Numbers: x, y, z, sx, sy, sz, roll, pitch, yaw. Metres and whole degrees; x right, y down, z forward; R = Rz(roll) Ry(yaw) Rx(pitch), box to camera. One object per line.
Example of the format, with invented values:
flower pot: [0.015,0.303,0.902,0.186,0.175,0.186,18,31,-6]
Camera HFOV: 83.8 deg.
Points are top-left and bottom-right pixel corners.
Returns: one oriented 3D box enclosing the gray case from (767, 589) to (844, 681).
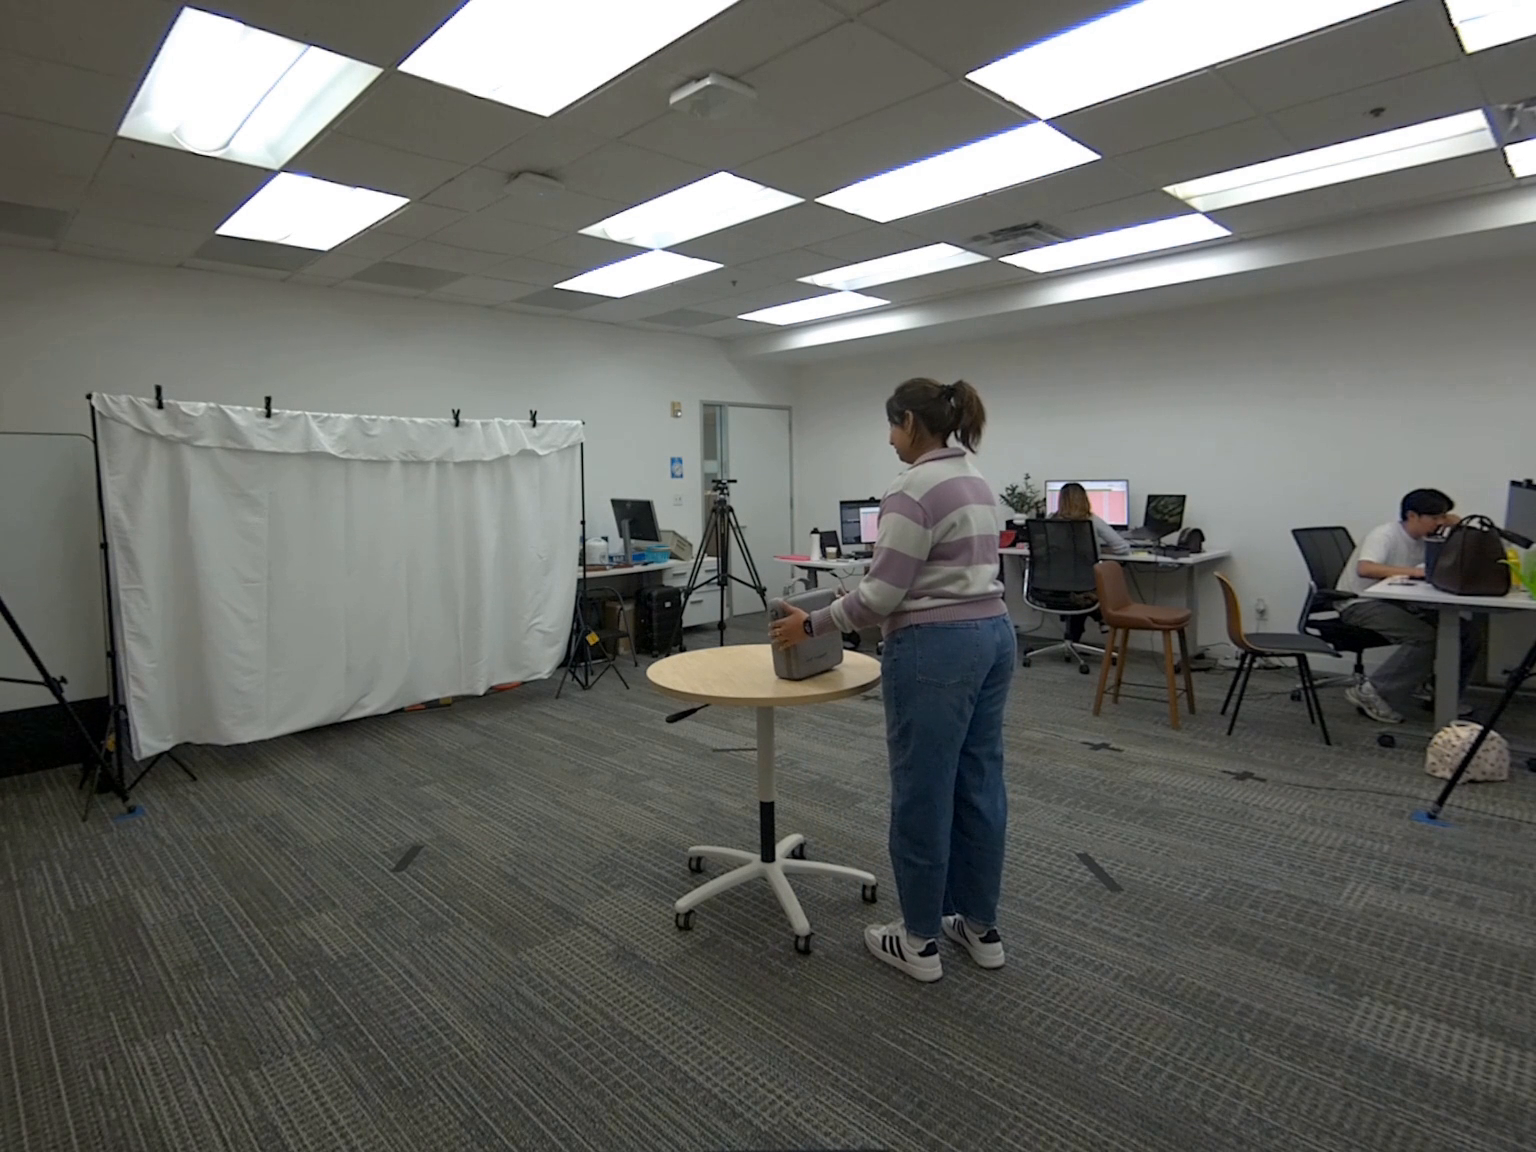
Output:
gray case: [0.123,0.175,2.669,0.107,0.260,0.251,-4,4,42]
